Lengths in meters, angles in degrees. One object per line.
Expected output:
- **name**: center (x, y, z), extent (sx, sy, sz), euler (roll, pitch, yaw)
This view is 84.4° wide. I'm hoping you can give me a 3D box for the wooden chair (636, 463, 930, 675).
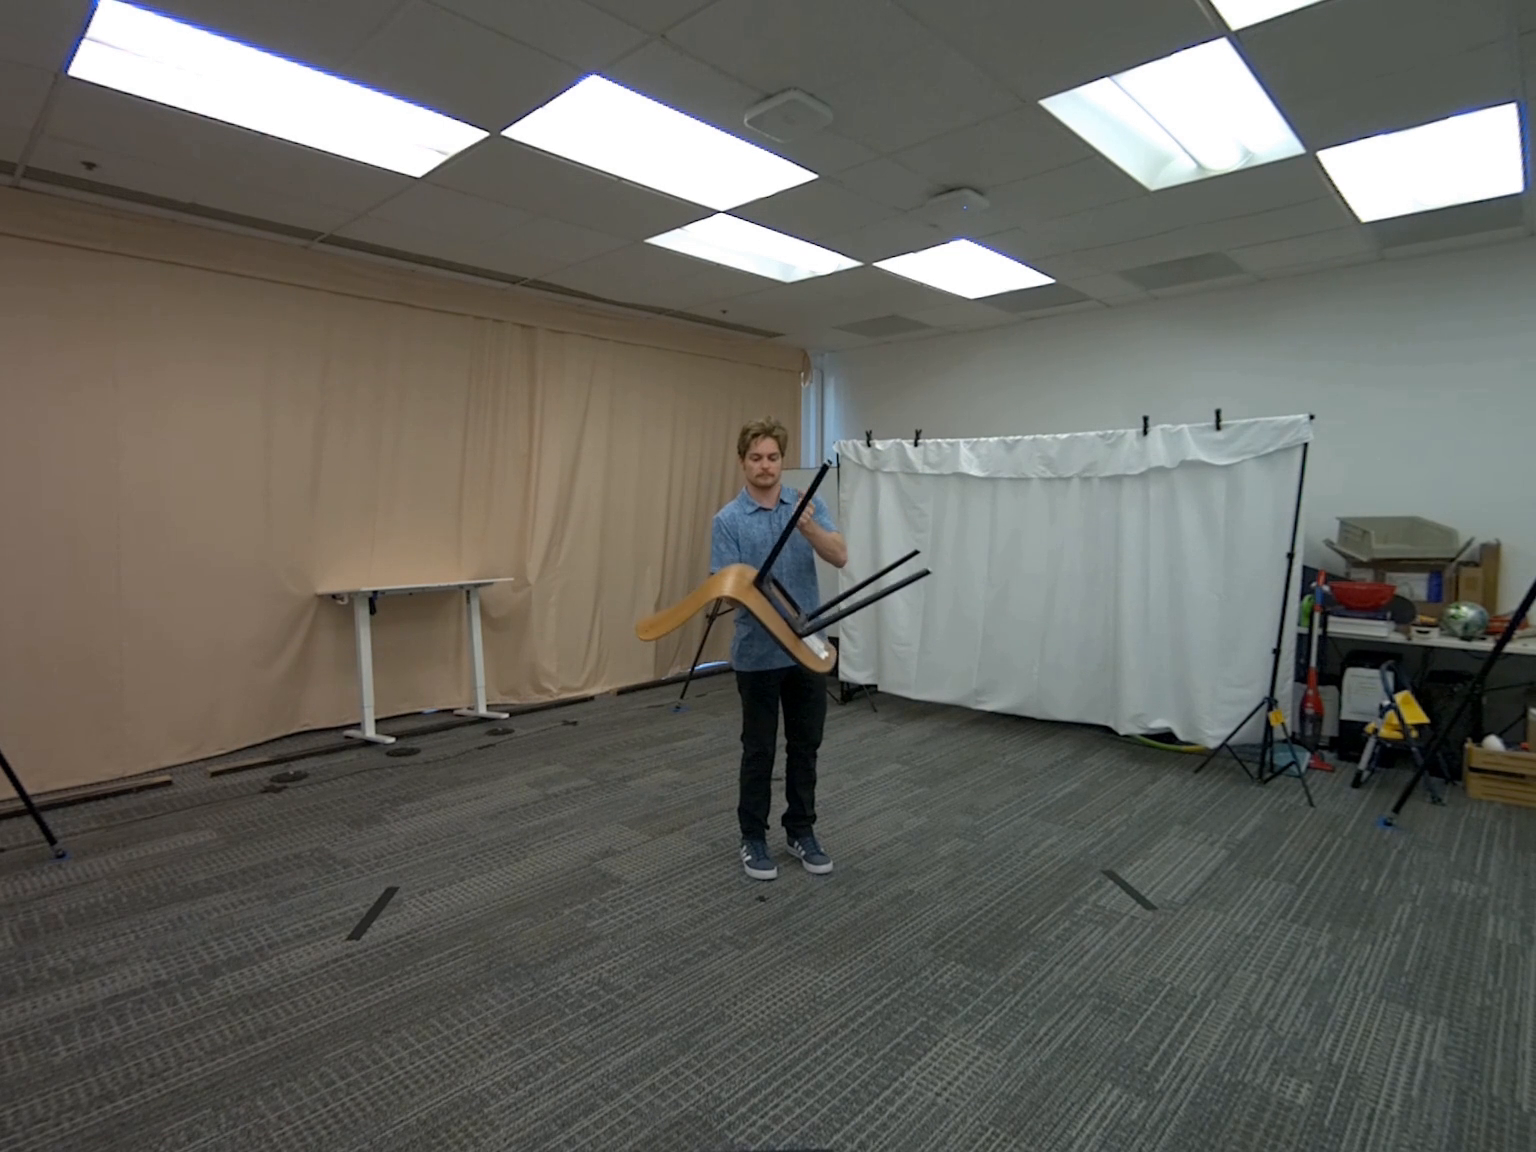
- **wooden chair**: center (0.057, 0.091, 2.804), extent (0.881, 0.522, 0.477), euler (-41, 2, 11)
